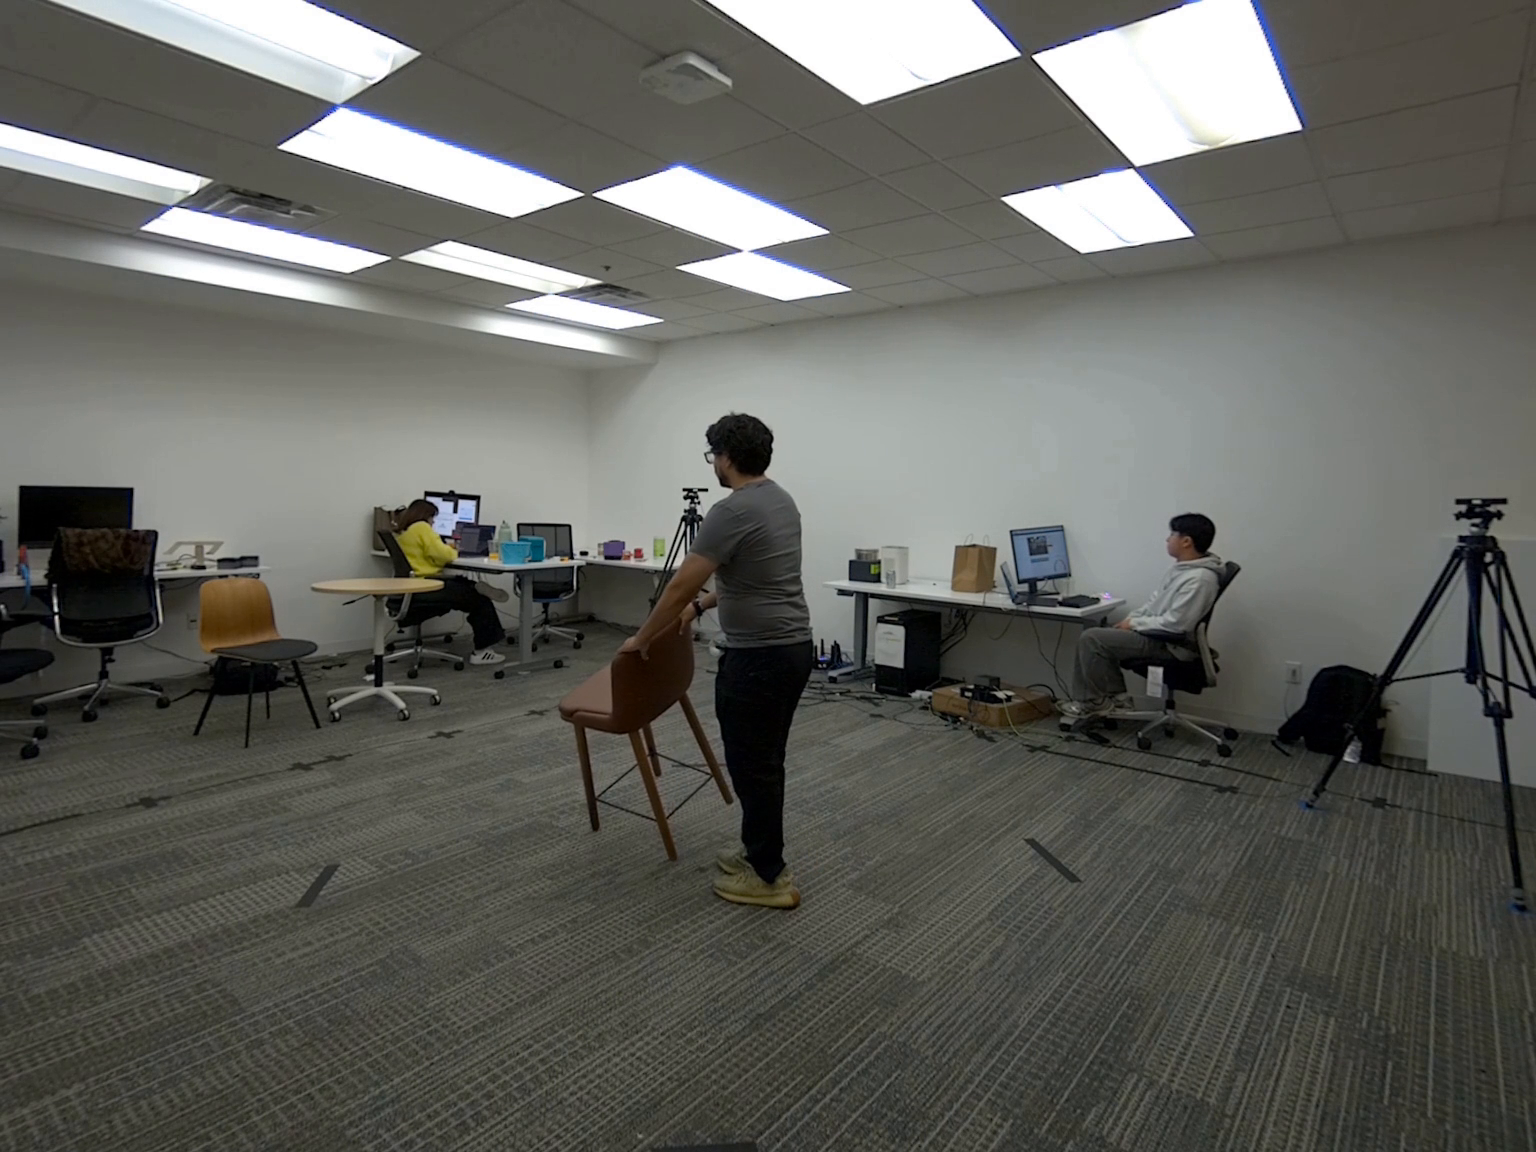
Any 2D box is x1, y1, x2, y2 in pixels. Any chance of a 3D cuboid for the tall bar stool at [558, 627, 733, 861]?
[{"bbox_3d":[-0.514,0.576,3.306,0.484,0.870,0.451,8,27,39],"label":"tall bar stool"}]
